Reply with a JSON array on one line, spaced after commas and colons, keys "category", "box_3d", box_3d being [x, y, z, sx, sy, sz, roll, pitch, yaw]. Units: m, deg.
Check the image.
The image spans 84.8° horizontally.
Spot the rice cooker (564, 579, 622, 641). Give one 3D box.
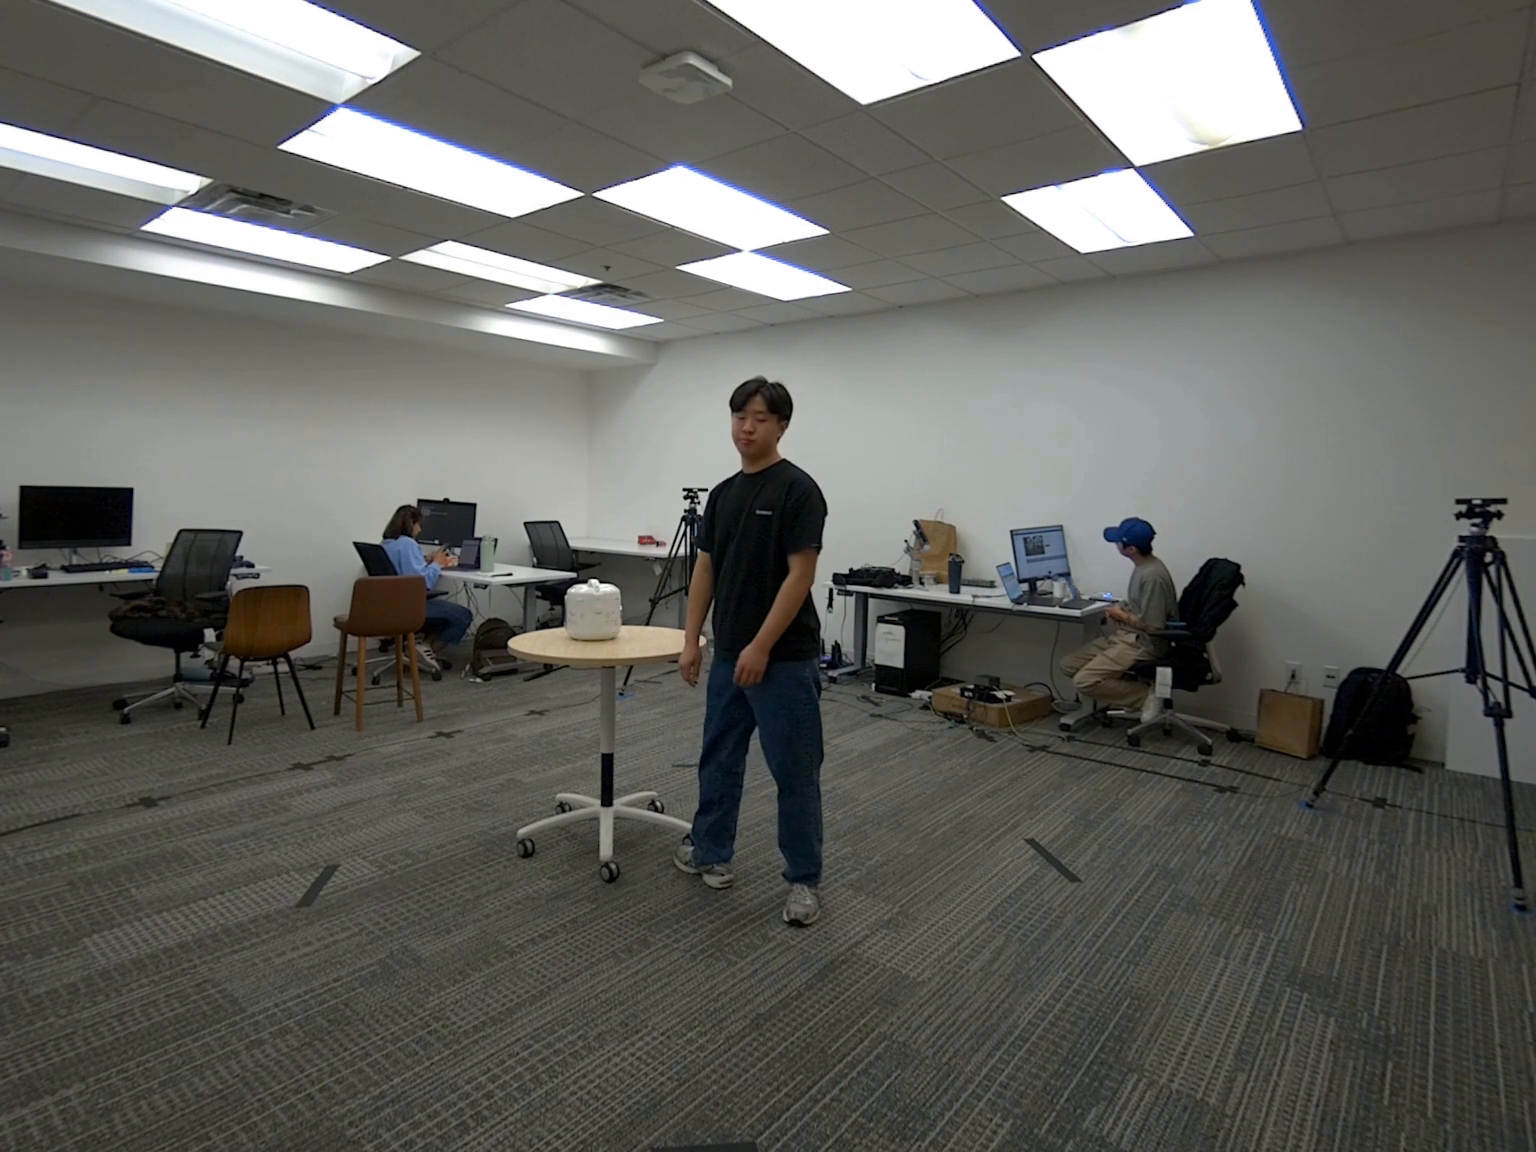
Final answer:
[{"category": "rice cooker", "box_3d": [-0.699, 0.124, 3.367, 0.213, 0.232, 0.226, -1, 4, -19]}]
